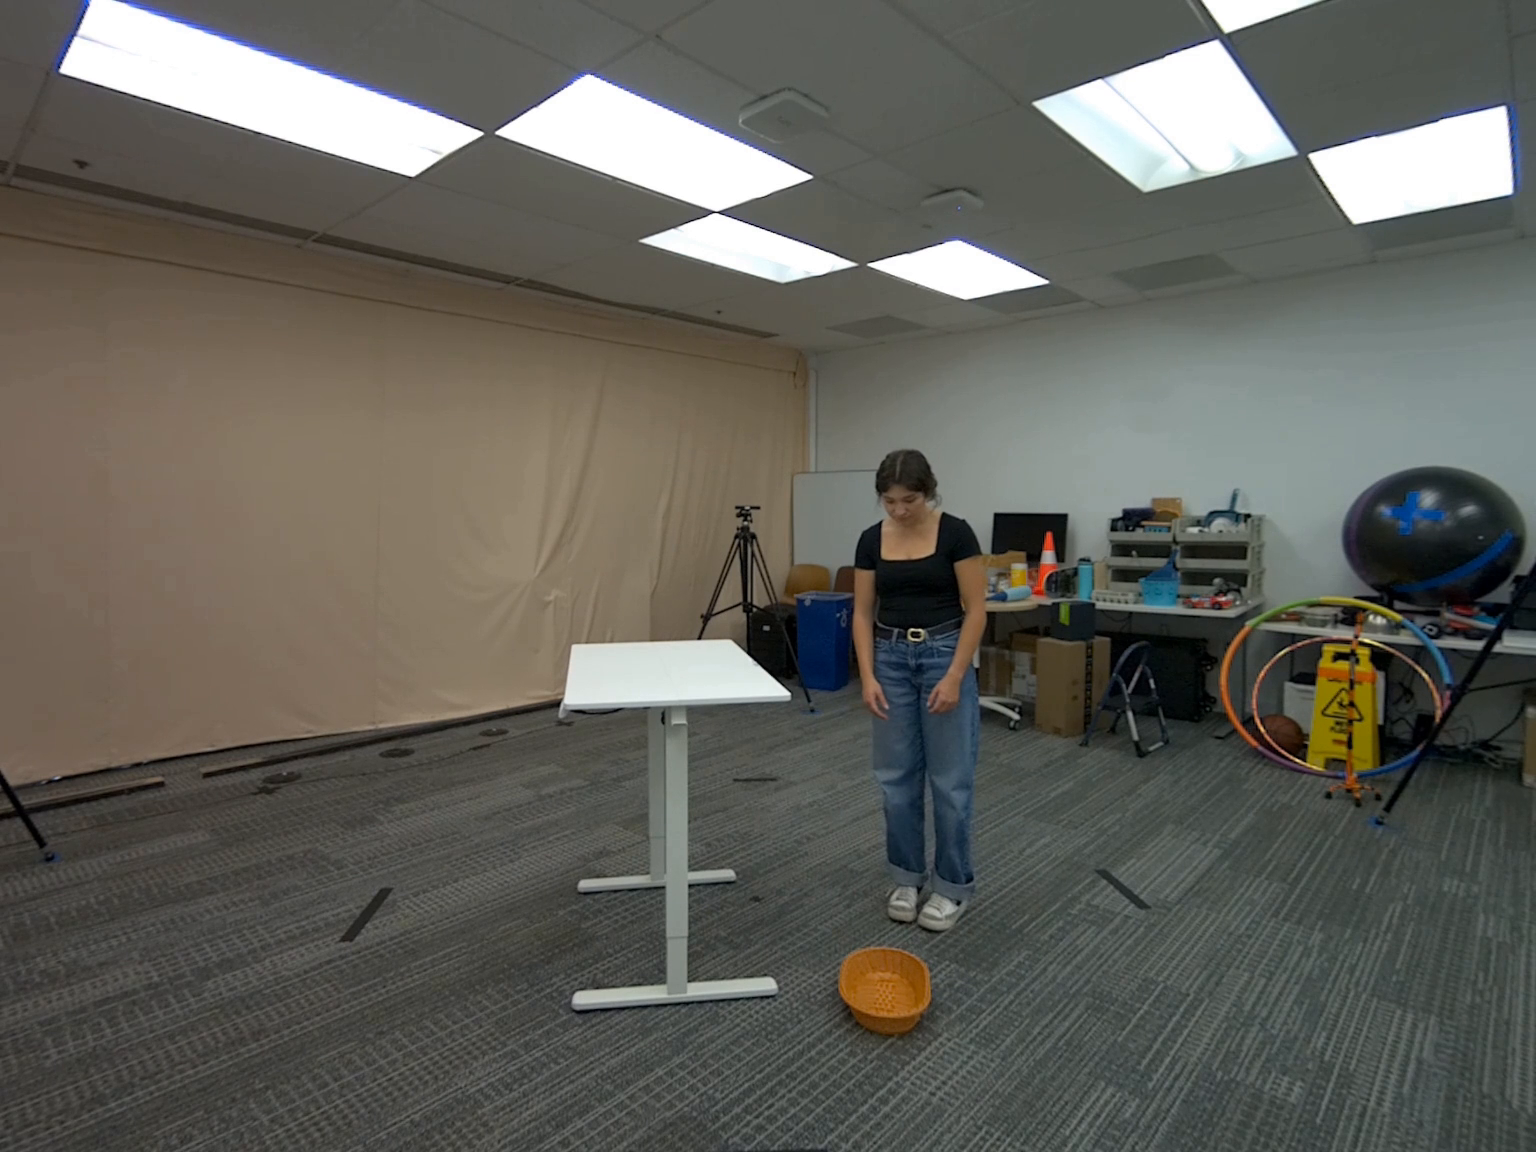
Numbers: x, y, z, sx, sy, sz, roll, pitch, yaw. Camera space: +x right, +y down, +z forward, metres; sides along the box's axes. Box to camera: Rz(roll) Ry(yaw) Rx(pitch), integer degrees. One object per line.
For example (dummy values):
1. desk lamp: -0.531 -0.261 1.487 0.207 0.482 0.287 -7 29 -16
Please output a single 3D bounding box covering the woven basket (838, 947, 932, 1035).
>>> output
1. woven basket: 0.332 1.159 2.354 0.256 0.073 0.346 0 5 13
